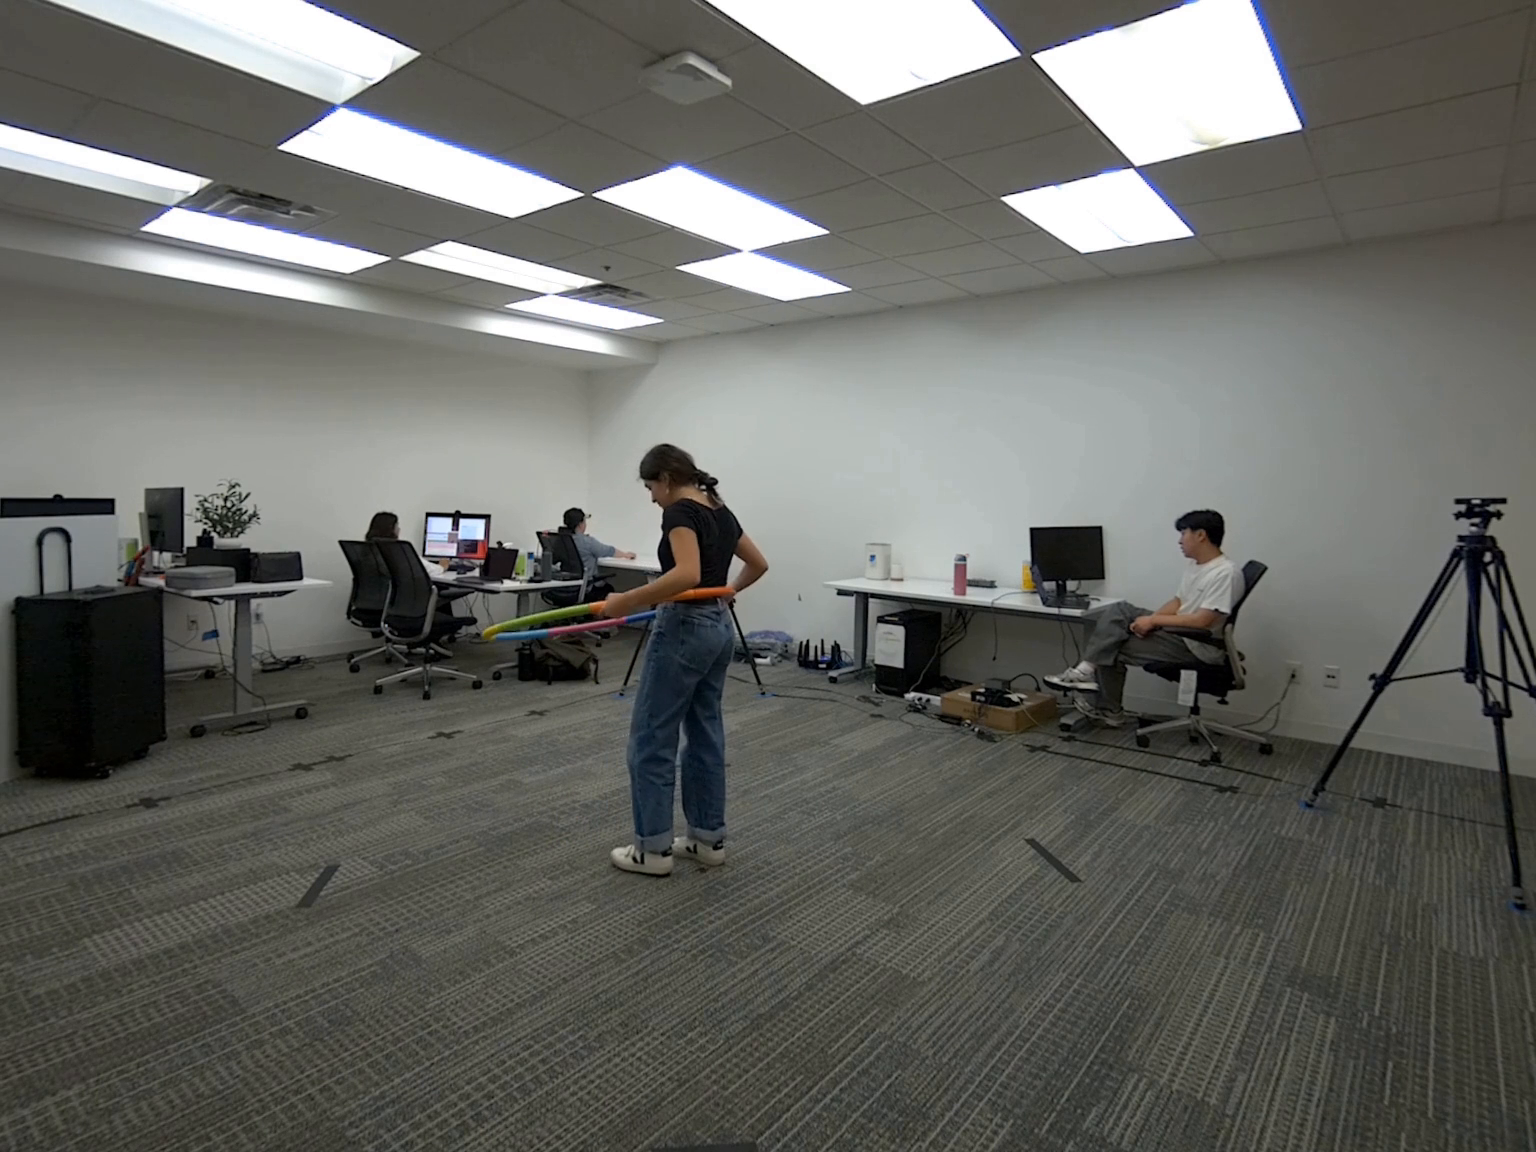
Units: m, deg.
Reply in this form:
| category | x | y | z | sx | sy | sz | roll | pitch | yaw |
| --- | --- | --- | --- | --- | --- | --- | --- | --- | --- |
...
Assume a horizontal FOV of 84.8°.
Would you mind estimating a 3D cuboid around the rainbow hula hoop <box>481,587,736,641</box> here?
| category | x | y | z | sx | sy | sz | roll | pitch | yaw |
| --- | --- | --- | --- | --- | --- | --- | --- | --- | --- |
| rainbow hula hoop | -0.587 | 0.157 | 3.321 | 0.976 | 0.036 | 0.972 | -11 | -6 | -3 |
